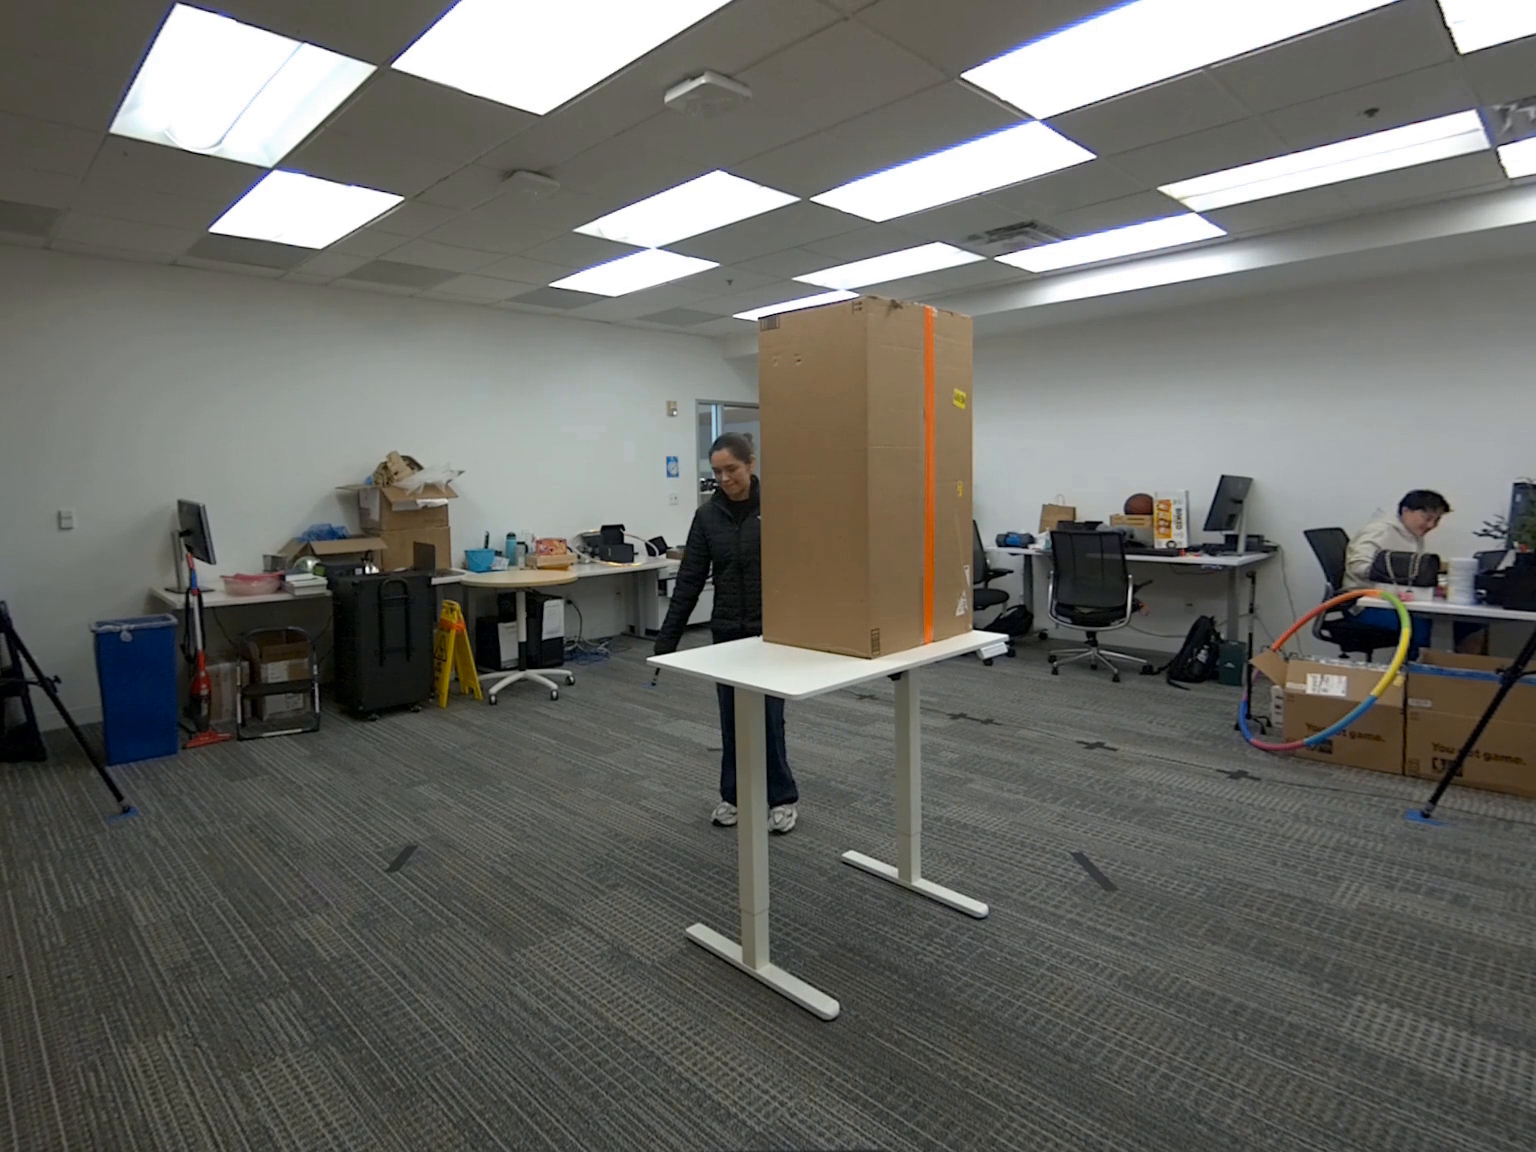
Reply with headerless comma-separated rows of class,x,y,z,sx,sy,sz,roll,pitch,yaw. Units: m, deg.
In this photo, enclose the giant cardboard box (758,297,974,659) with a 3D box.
giant cardboard box,0.322,-0.311,2.740,0.439,1.022,0.562,3,6,44
